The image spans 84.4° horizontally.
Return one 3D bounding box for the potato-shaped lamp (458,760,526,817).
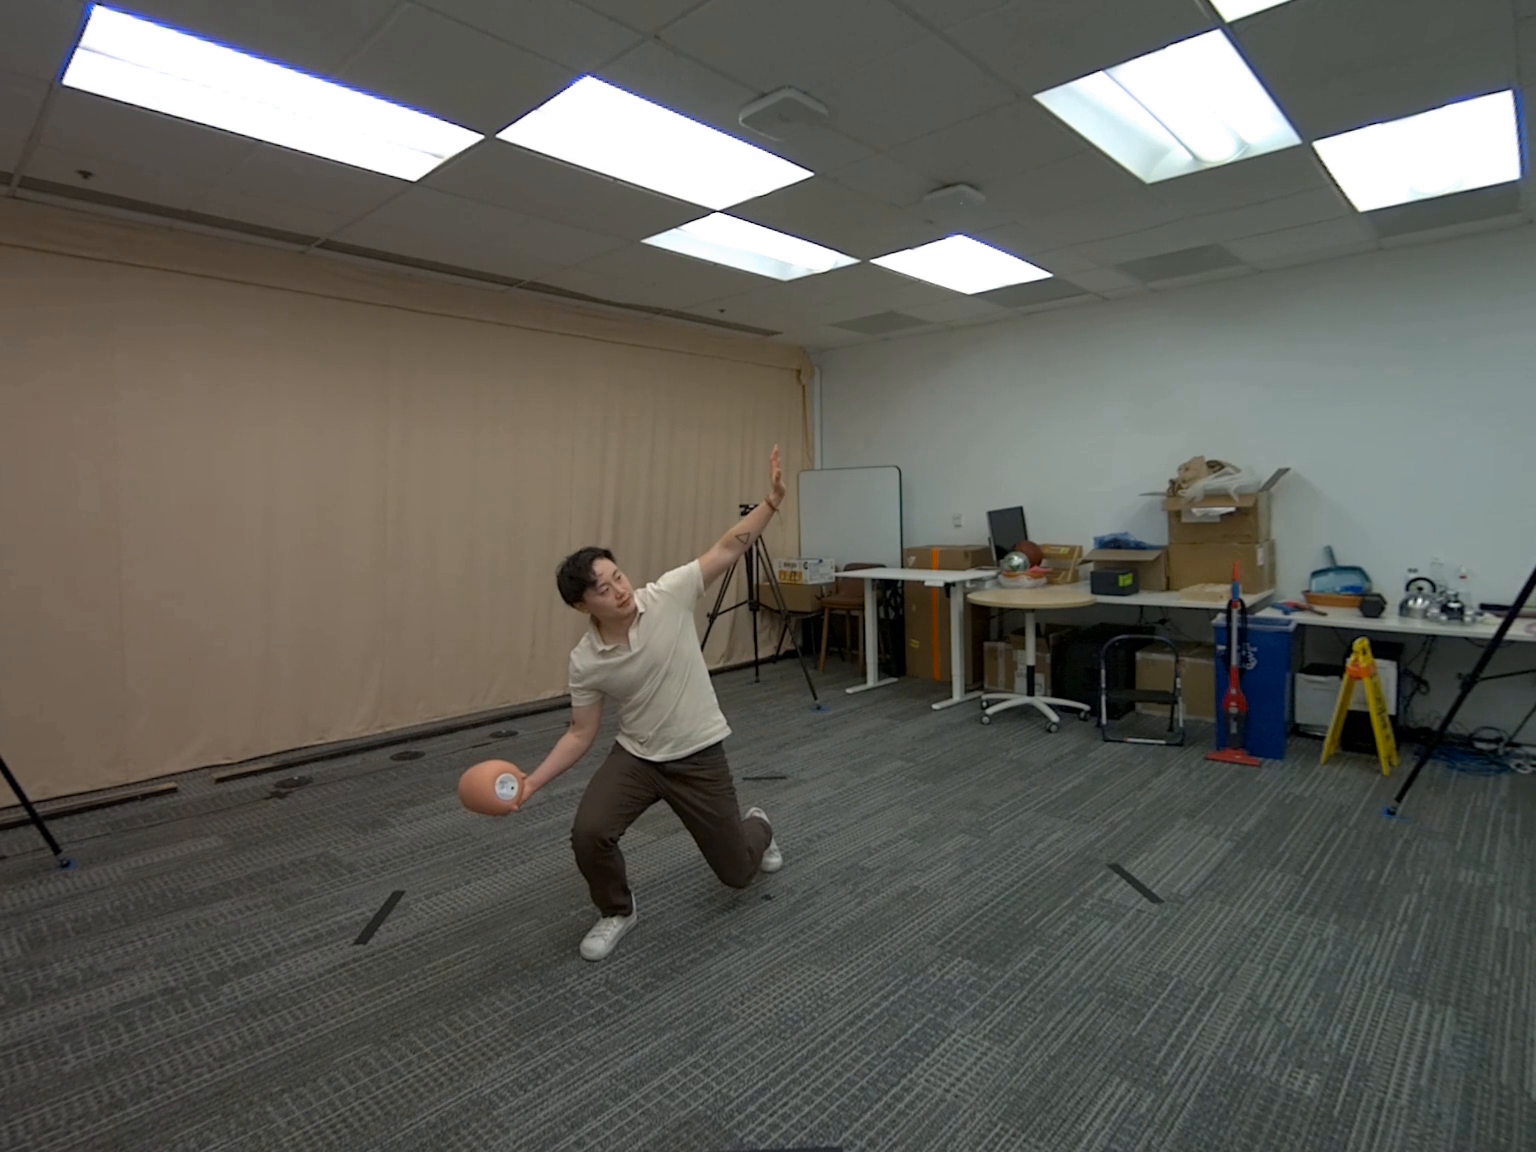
[{"bbox_3d":[-0.866,0.660,2.611,0.202,0.167,0.165,-21,-41,37],"label":"potato-shaped lamp"}]
